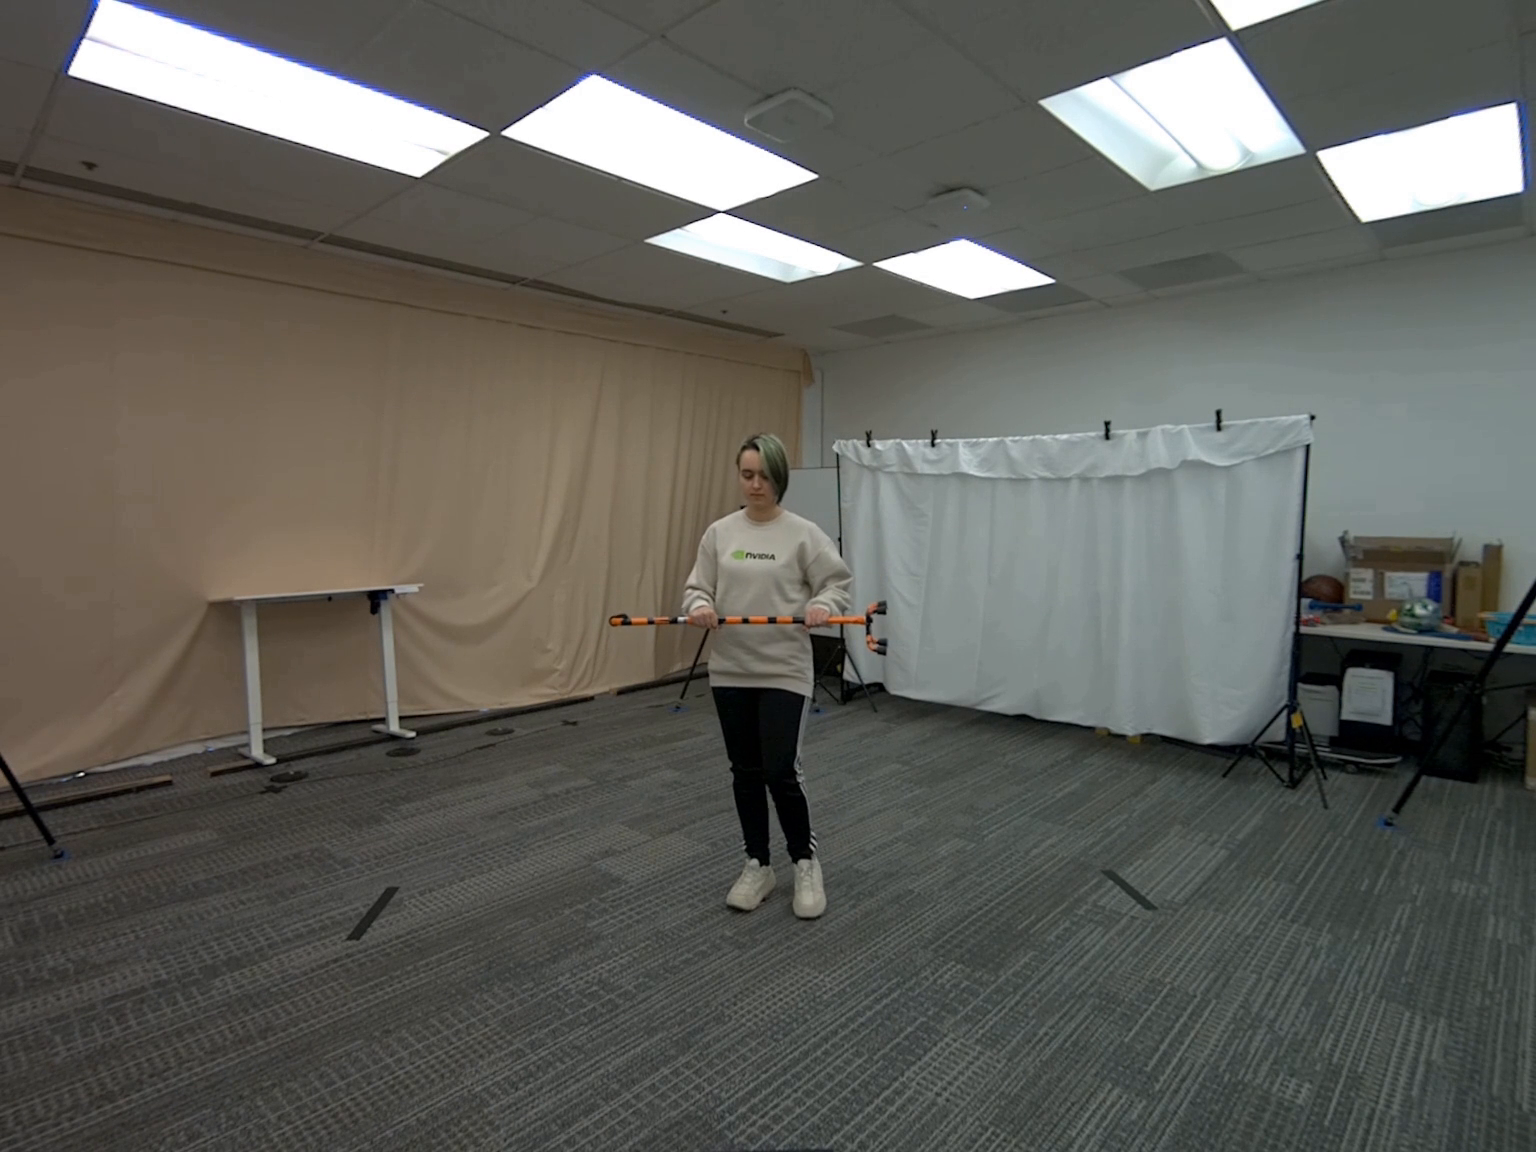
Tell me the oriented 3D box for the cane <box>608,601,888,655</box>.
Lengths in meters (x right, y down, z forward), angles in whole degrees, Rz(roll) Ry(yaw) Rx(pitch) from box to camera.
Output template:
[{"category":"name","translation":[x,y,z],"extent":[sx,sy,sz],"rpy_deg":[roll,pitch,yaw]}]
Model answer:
[{"category":"cane","translation":[-0.080,0.159,2.707],"extent":[0.918,0.151,0.204],"rpy_deg":[1,2,10]}]
